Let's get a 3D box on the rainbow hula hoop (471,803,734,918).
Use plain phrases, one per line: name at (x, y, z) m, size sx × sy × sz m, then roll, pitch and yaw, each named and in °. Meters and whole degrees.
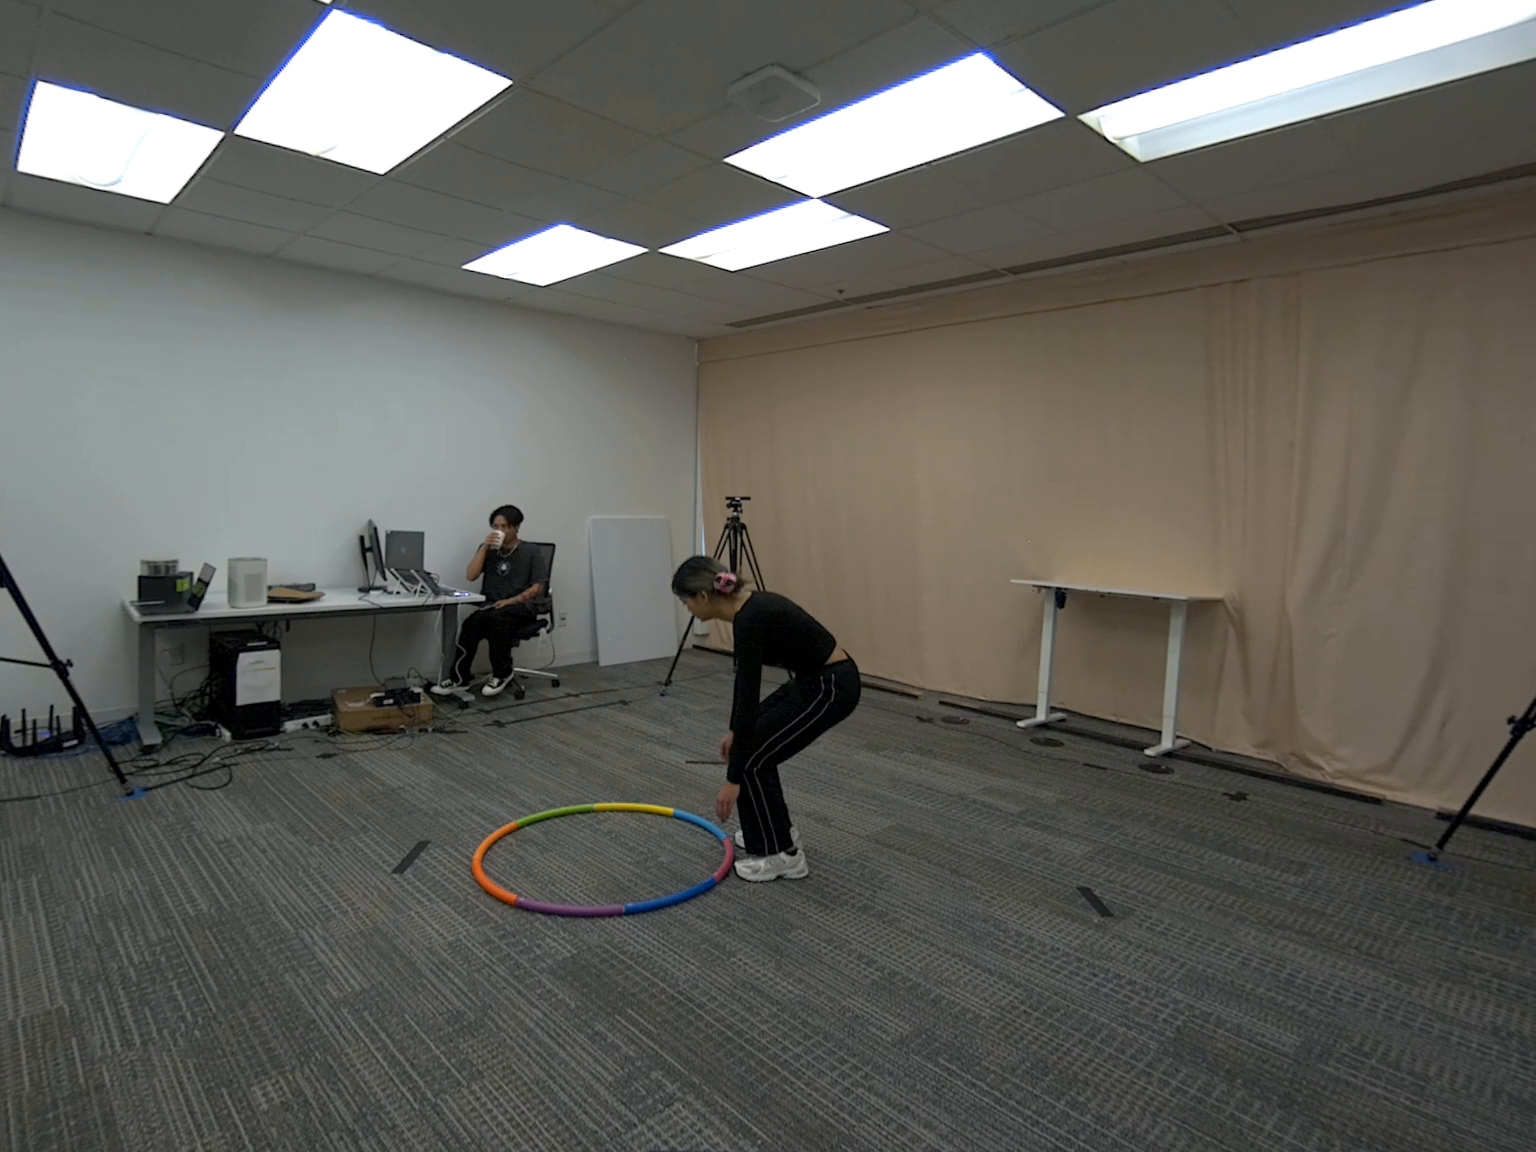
rainbow hula hoop at (-0.626, 1.056, 3.252) m, size 0.978 × 0.035 × 0.982 m, roll 2°, pitch 5°, yaw -1°
